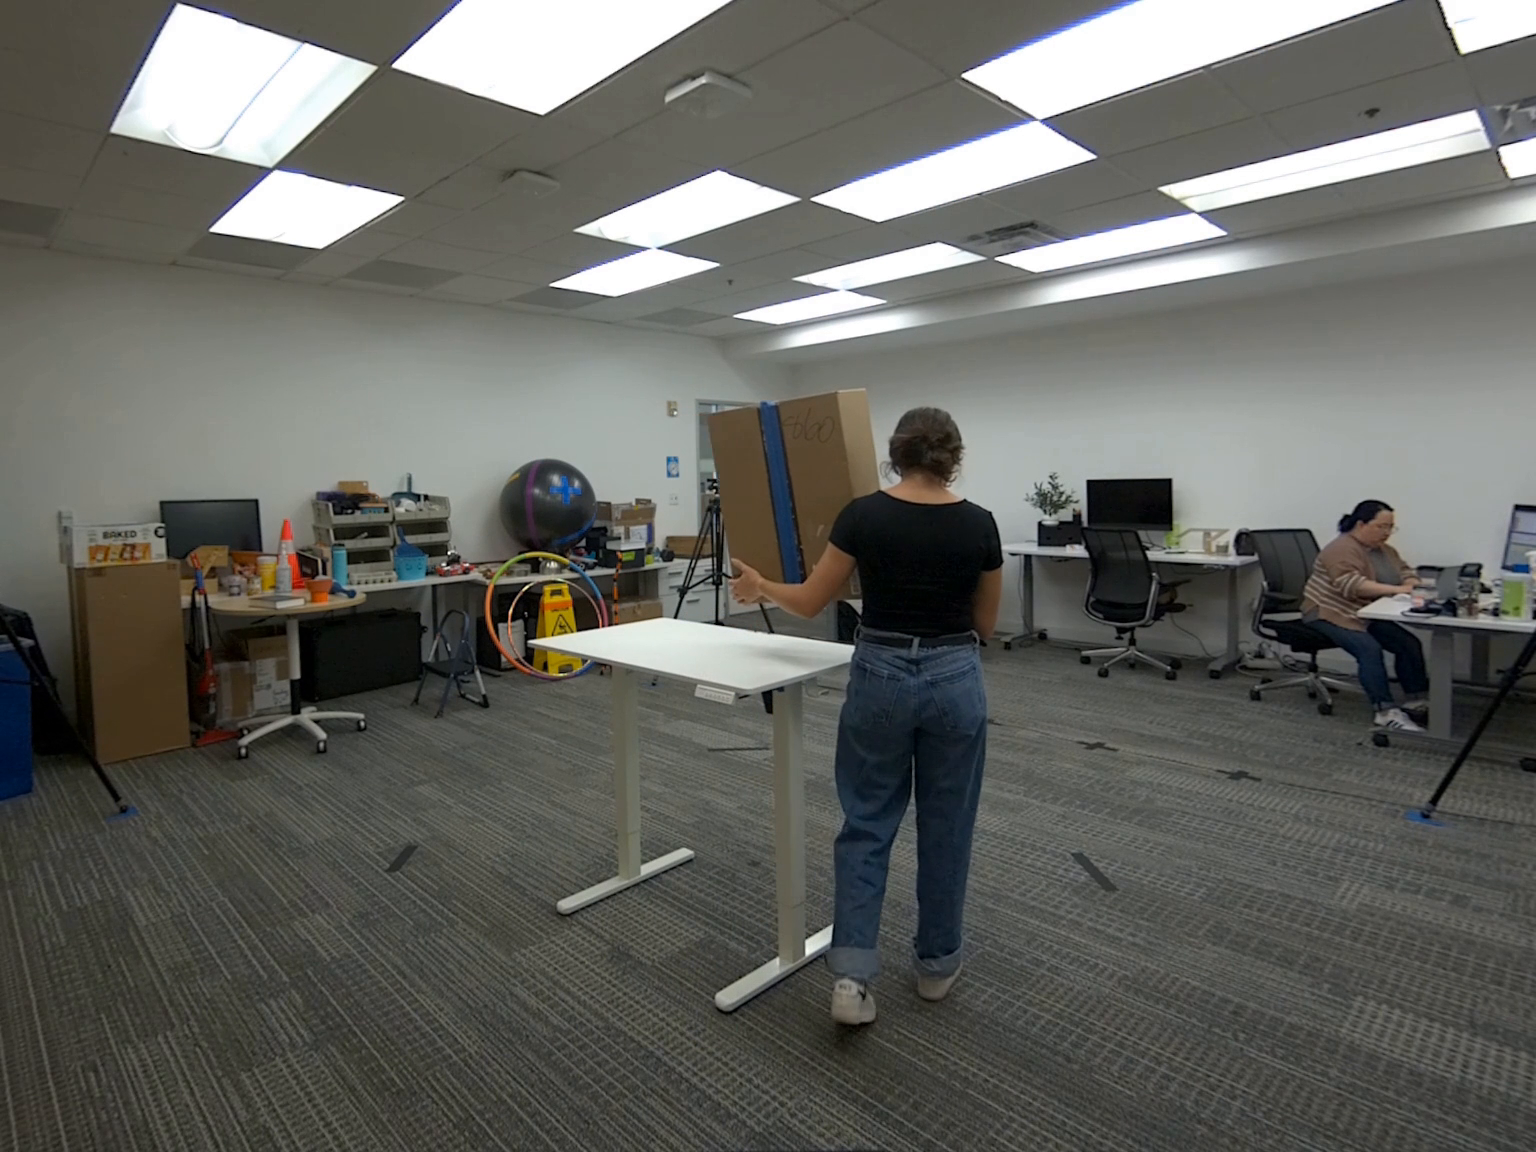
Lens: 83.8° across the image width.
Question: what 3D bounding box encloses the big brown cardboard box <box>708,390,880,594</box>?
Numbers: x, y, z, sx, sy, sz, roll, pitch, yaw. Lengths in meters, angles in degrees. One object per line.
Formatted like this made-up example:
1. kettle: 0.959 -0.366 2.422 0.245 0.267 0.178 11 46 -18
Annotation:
1. big brown cardboard box: 0.091 -0.222 2.475 0.427 0.586 0.229 -5 6 31
